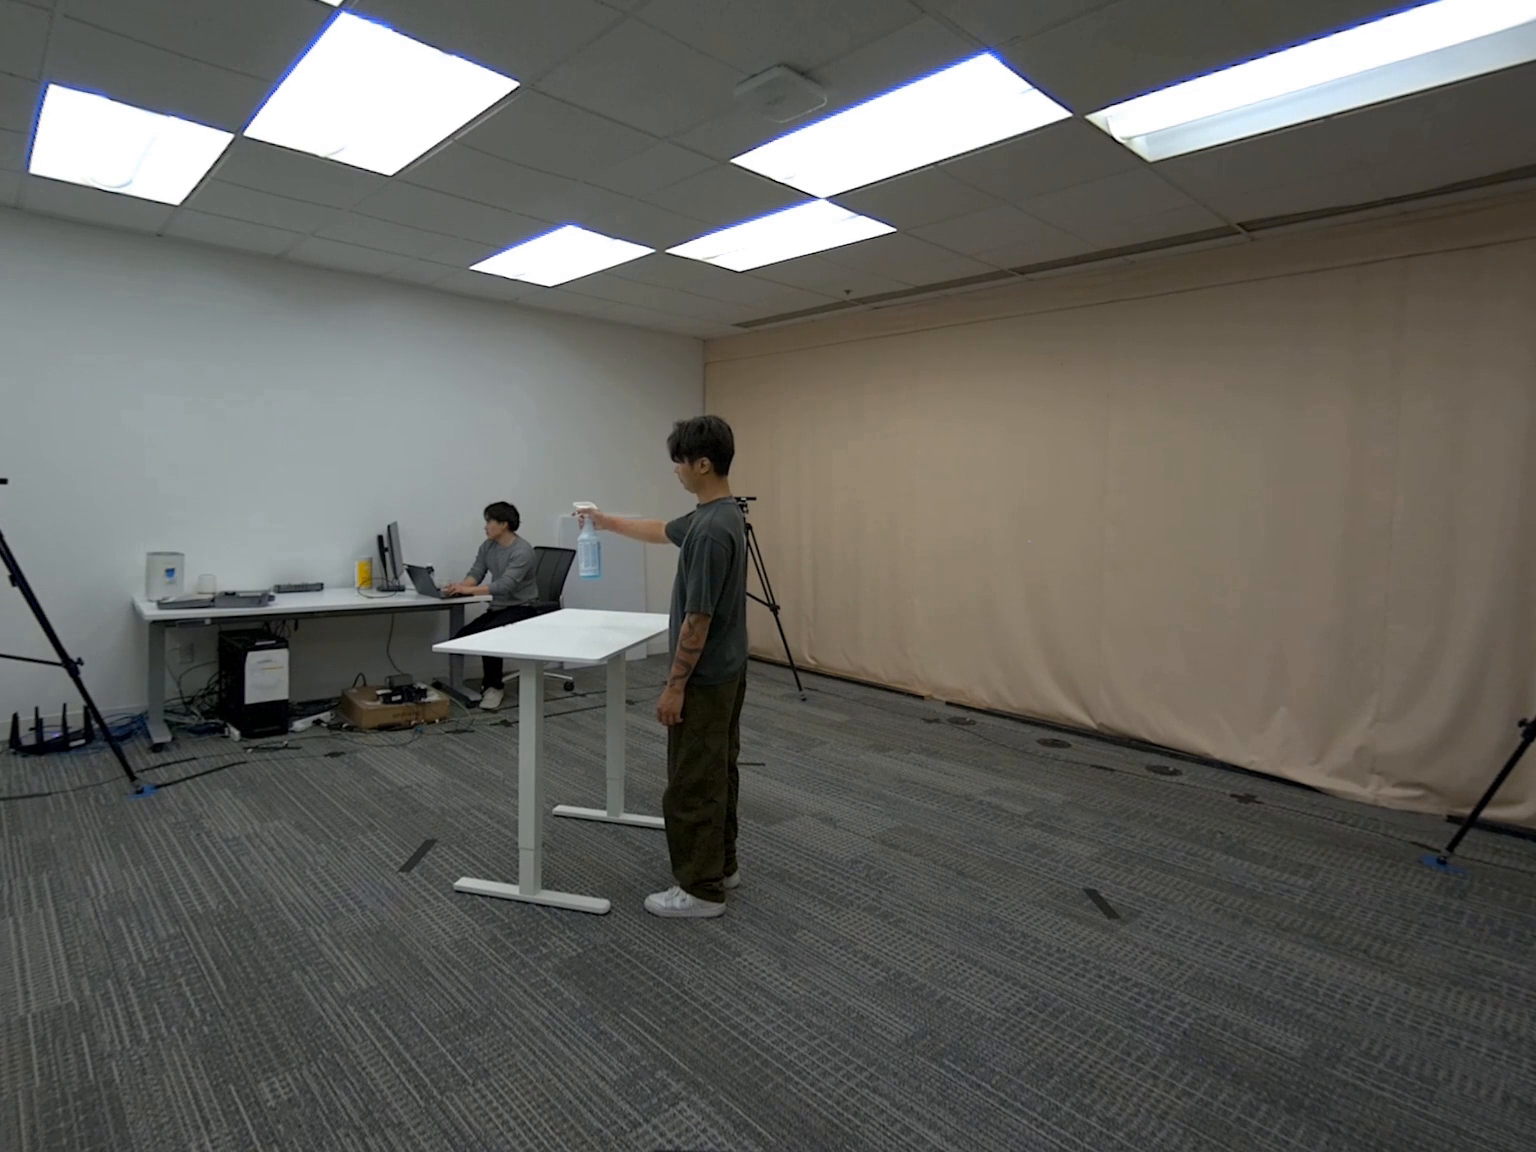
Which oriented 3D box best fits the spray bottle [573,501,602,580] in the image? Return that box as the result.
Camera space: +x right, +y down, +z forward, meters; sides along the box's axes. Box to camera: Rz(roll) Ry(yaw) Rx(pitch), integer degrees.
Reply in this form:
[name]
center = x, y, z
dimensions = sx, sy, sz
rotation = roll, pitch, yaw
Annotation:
[spray bottle]
center = -0.698, -0.137, 3.248
dimensions = 0.092, 0.297, 0.085
rotation = -2, 2, 27
